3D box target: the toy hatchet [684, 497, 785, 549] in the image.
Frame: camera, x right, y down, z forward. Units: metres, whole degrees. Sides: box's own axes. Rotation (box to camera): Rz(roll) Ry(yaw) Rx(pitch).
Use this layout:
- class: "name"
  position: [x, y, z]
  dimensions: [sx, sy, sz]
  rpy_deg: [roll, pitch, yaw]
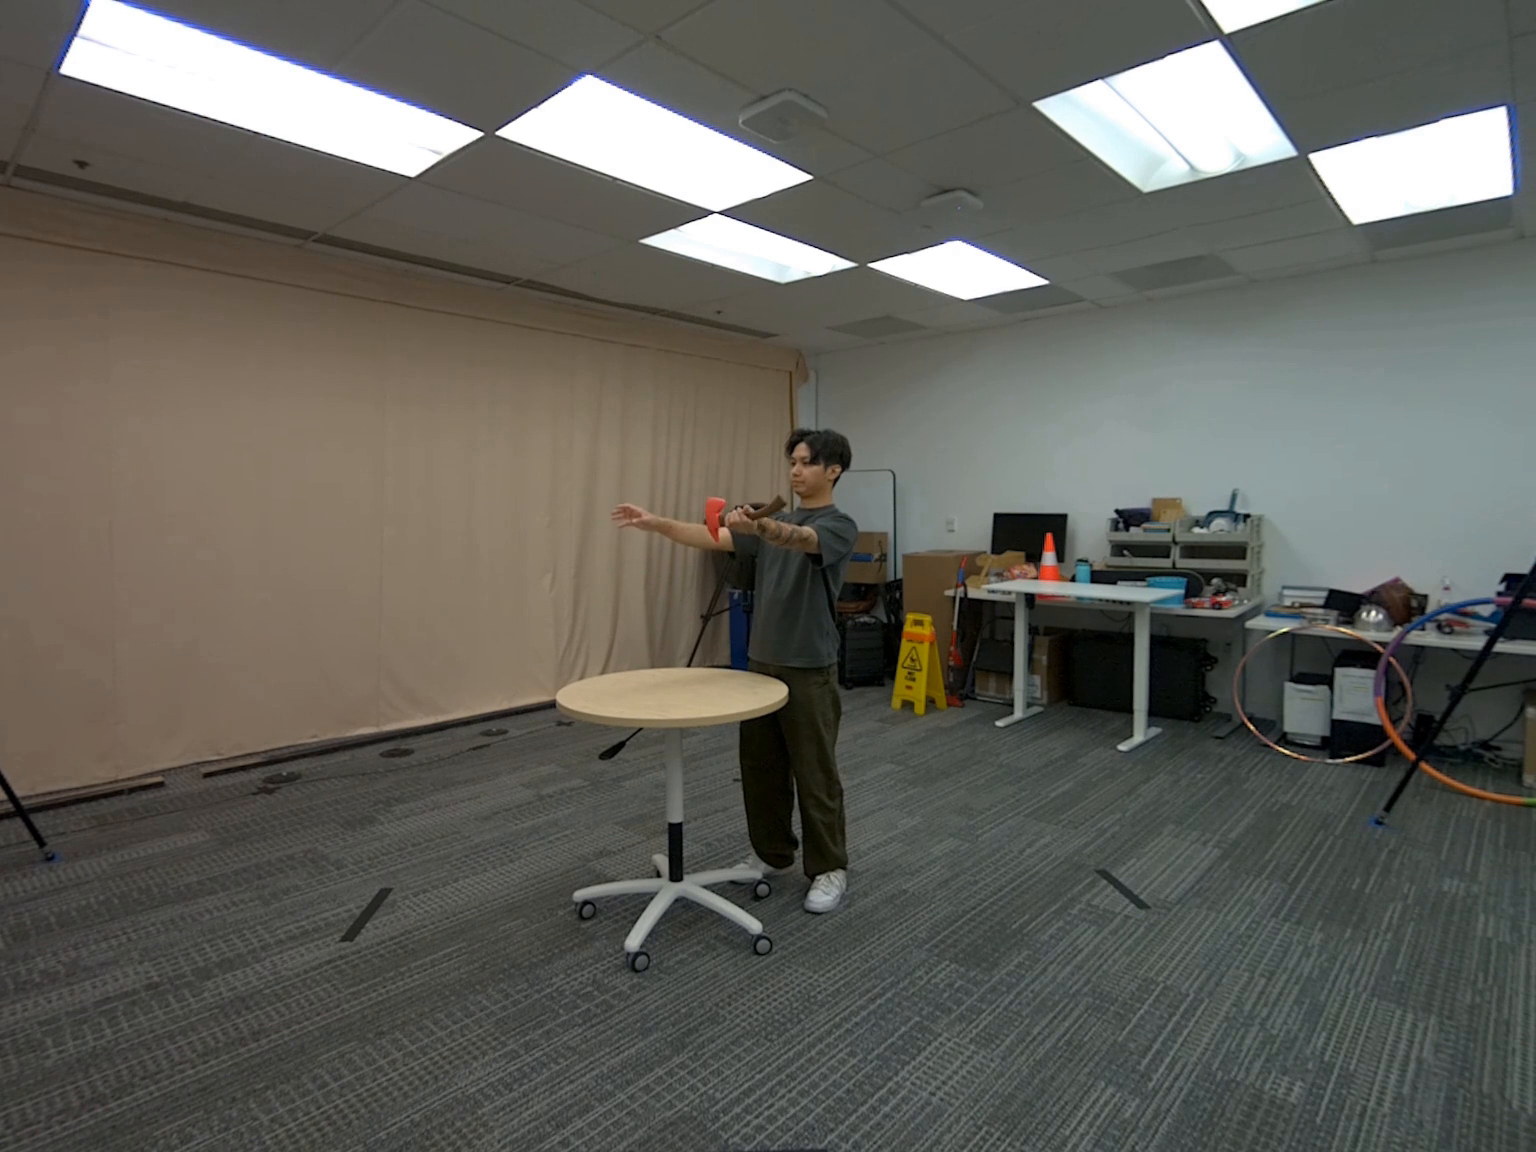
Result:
- class: "toy hatchet"
  position: [-0.078, -0.202, 2.449]
  dimensions: [0.274, 0.131, 0.029]
  rpy_deg: [-26, -3, 27]
